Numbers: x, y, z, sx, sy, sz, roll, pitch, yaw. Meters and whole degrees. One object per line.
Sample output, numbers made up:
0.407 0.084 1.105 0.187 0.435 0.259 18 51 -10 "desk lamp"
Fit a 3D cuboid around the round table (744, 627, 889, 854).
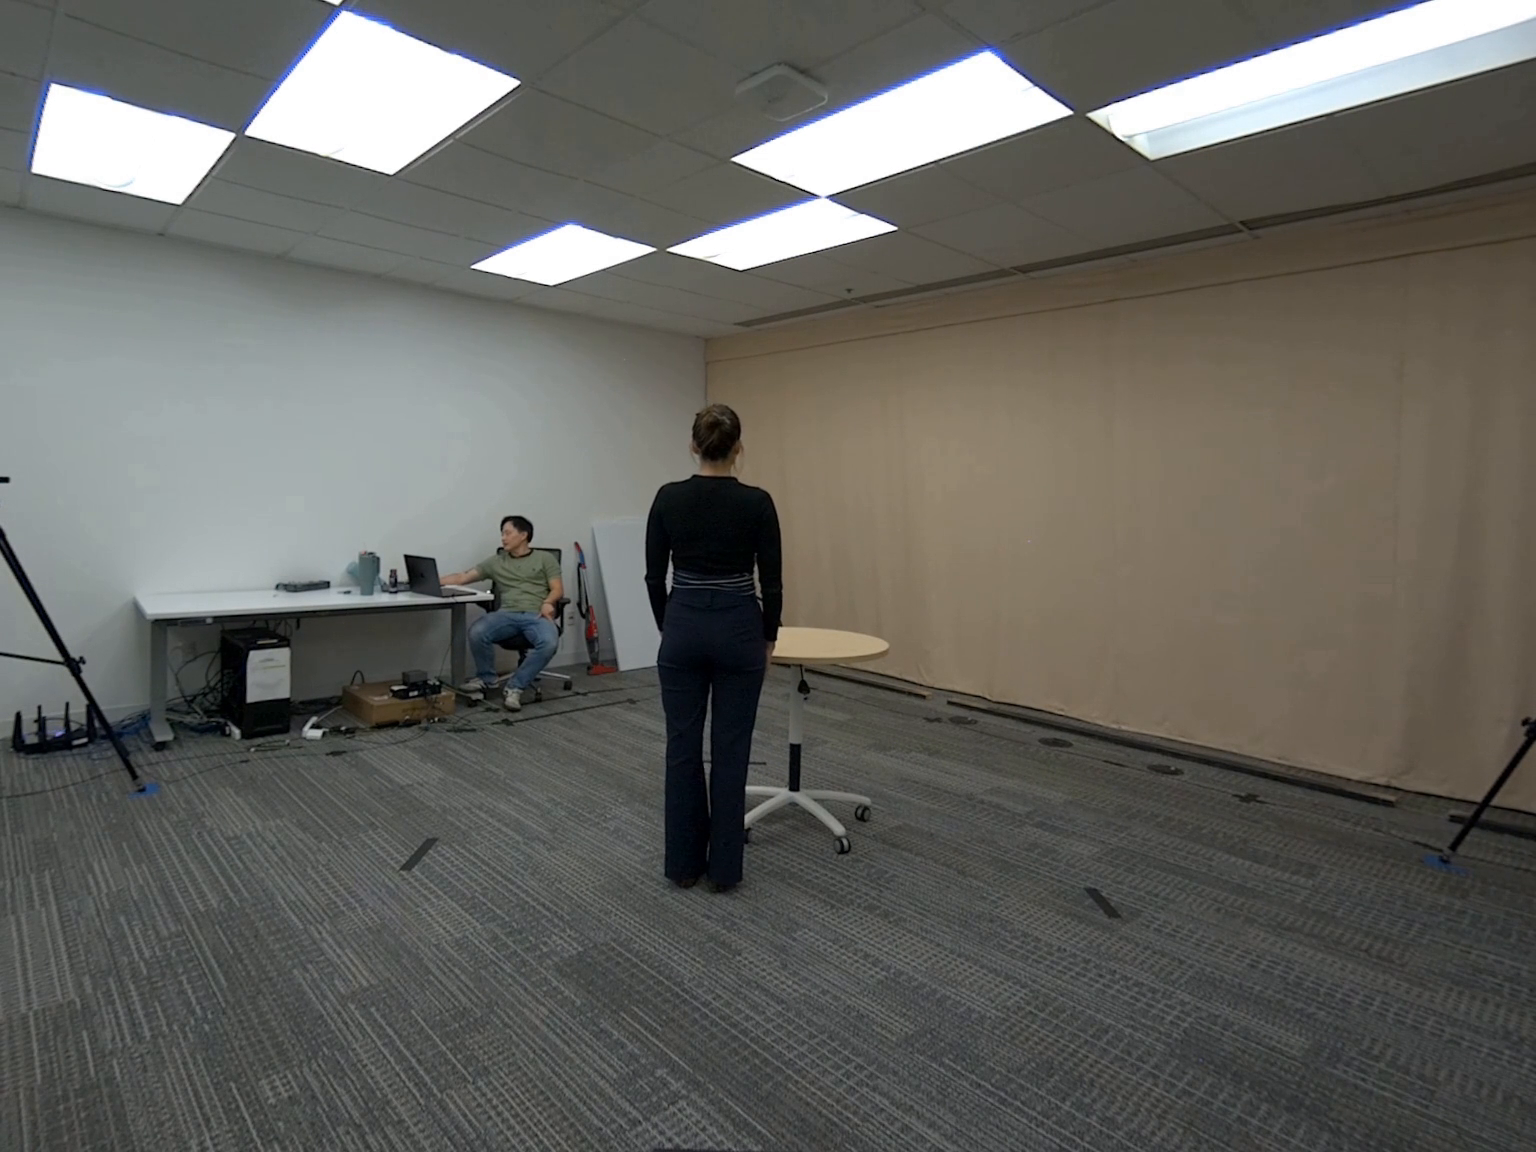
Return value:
0.110 0.674 3.614 0.763 0.792 0.766 2 4 -1 "round table"
